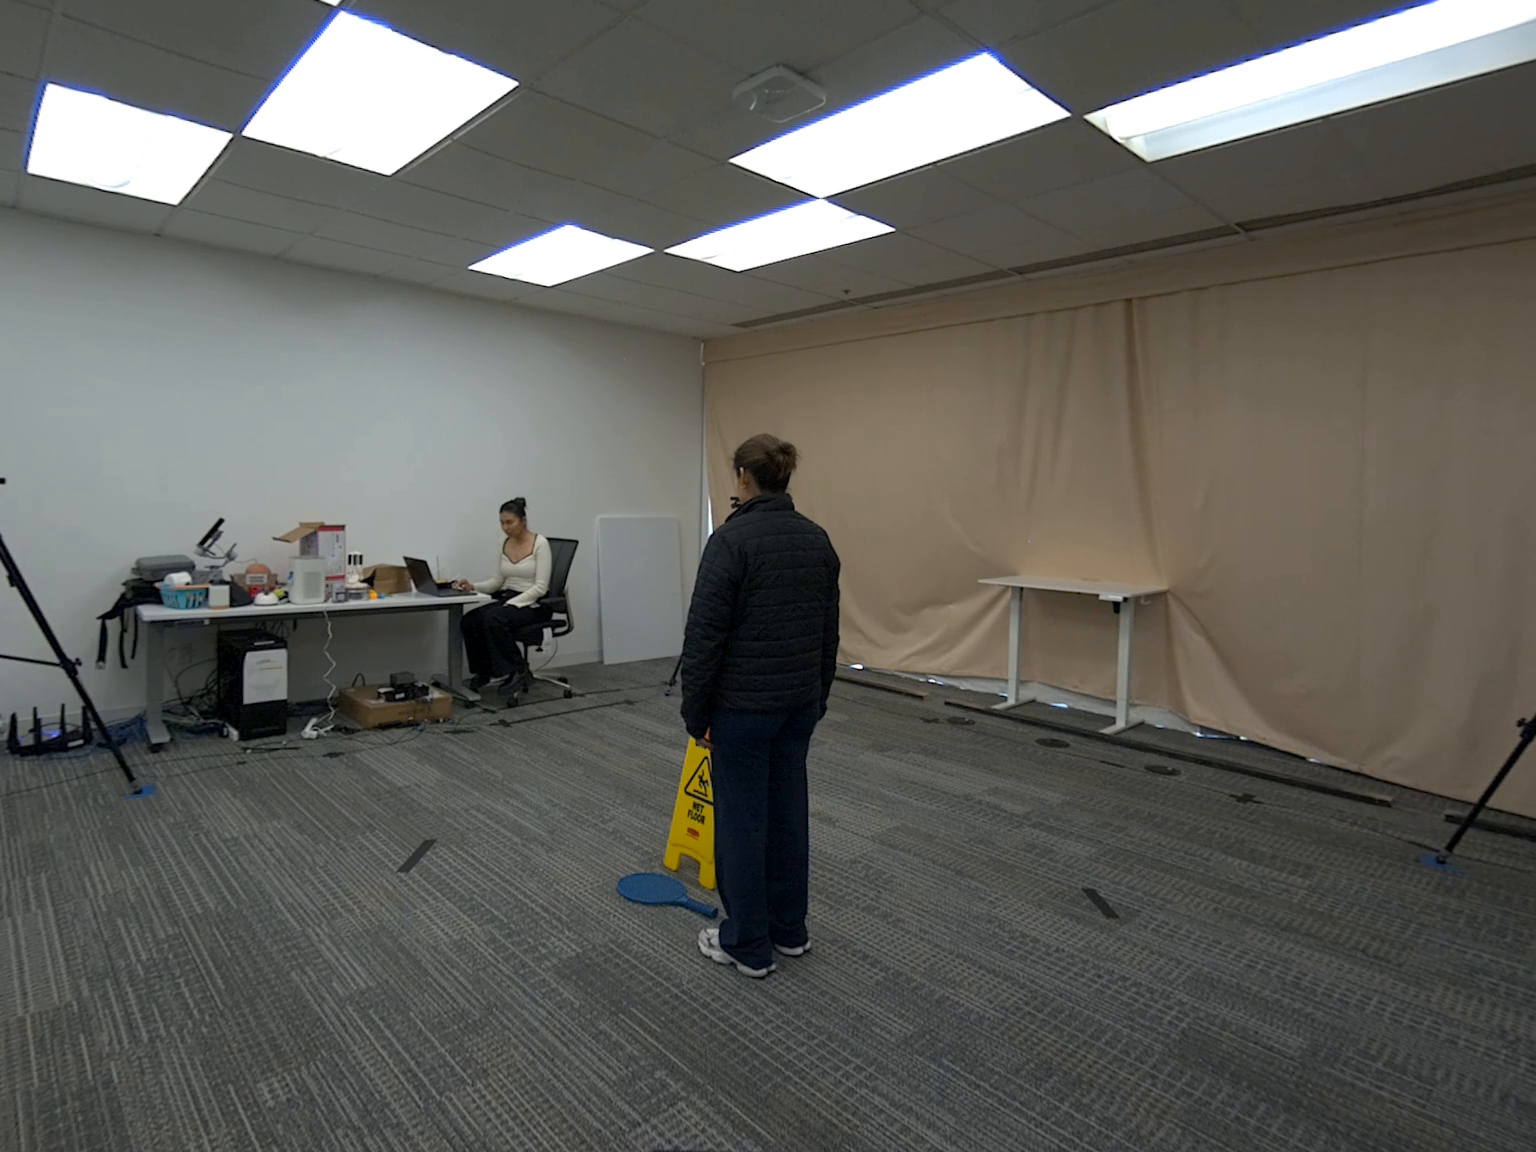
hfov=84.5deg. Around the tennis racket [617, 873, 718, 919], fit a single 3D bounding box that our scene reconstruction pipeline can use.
[{"bbox_3d":[-0.349,1.109,2.911,0.443,0.031,0.209,3,6,36],"label":"tennis racket"}]
